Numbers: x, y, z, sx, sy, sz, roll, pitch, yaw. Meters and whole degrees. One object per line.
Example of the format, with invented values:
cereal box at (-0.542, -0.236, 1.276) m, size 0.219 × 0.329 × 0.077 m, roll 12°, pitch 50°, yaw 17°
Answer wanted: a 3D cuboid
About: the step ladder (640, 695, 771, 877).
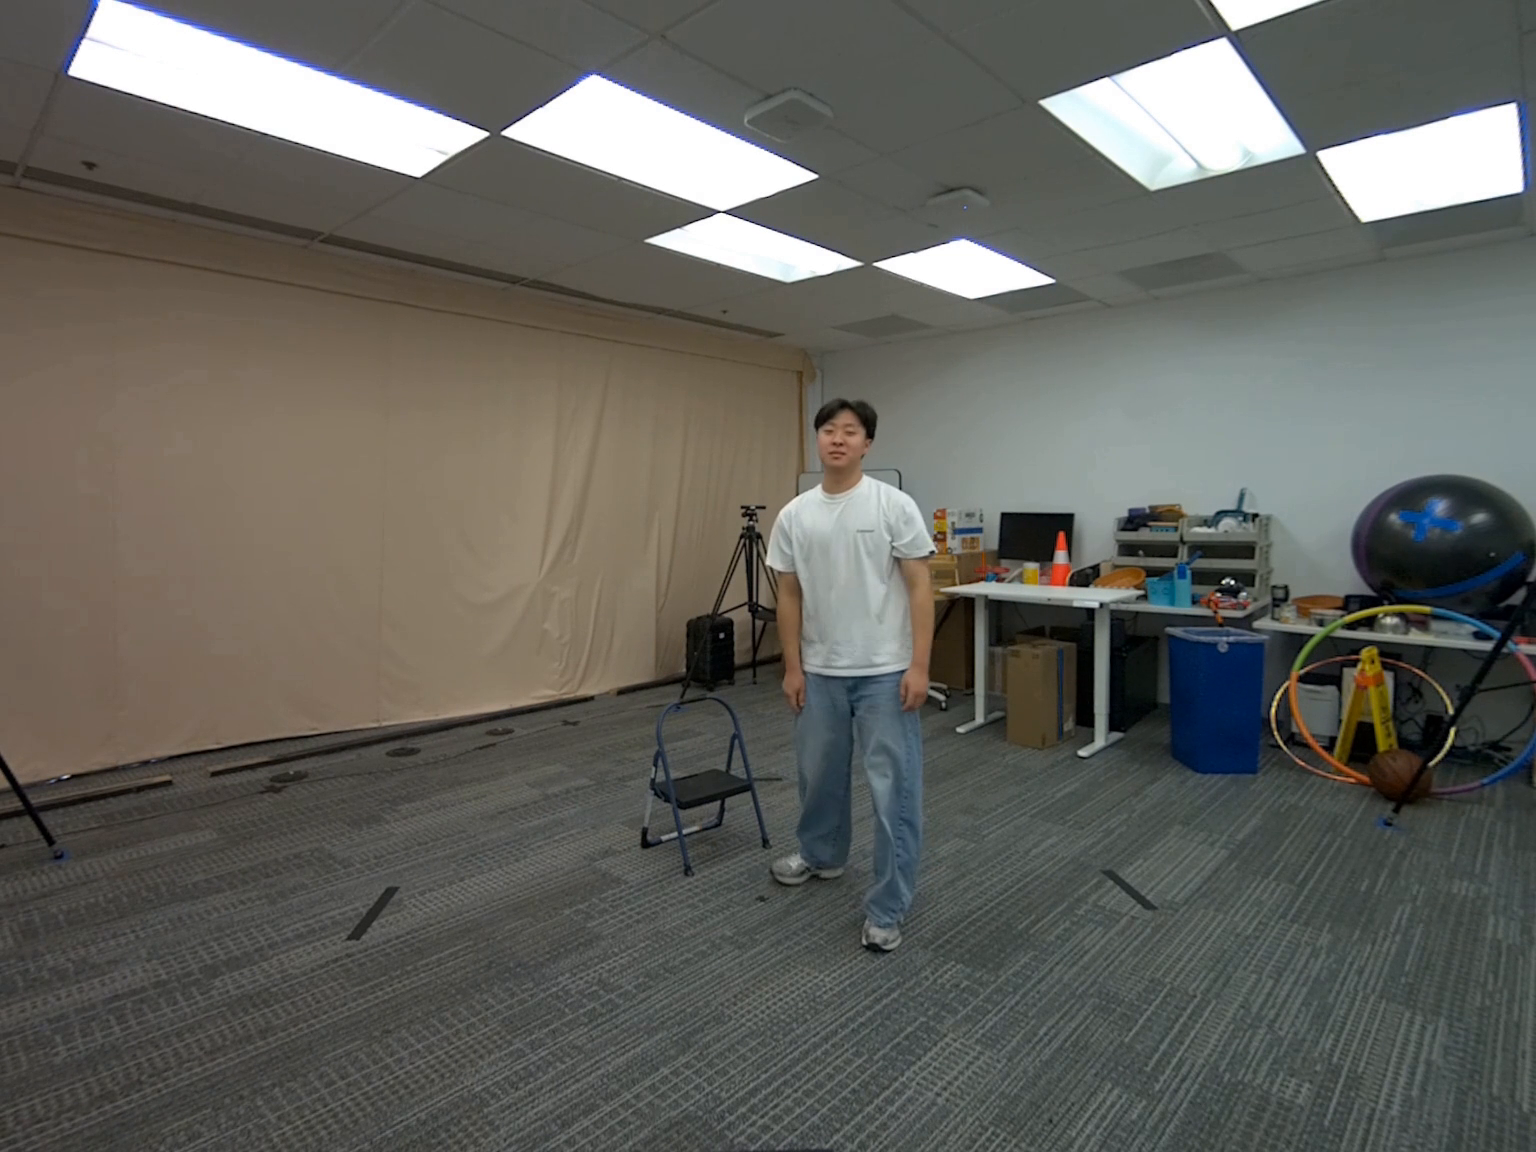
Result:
step ladder at (-0.256, 0.805, 3.418) m, size 0.417 × 0.605 × 0.361 m, roll -3°, pitch 4°, yaw -40°
